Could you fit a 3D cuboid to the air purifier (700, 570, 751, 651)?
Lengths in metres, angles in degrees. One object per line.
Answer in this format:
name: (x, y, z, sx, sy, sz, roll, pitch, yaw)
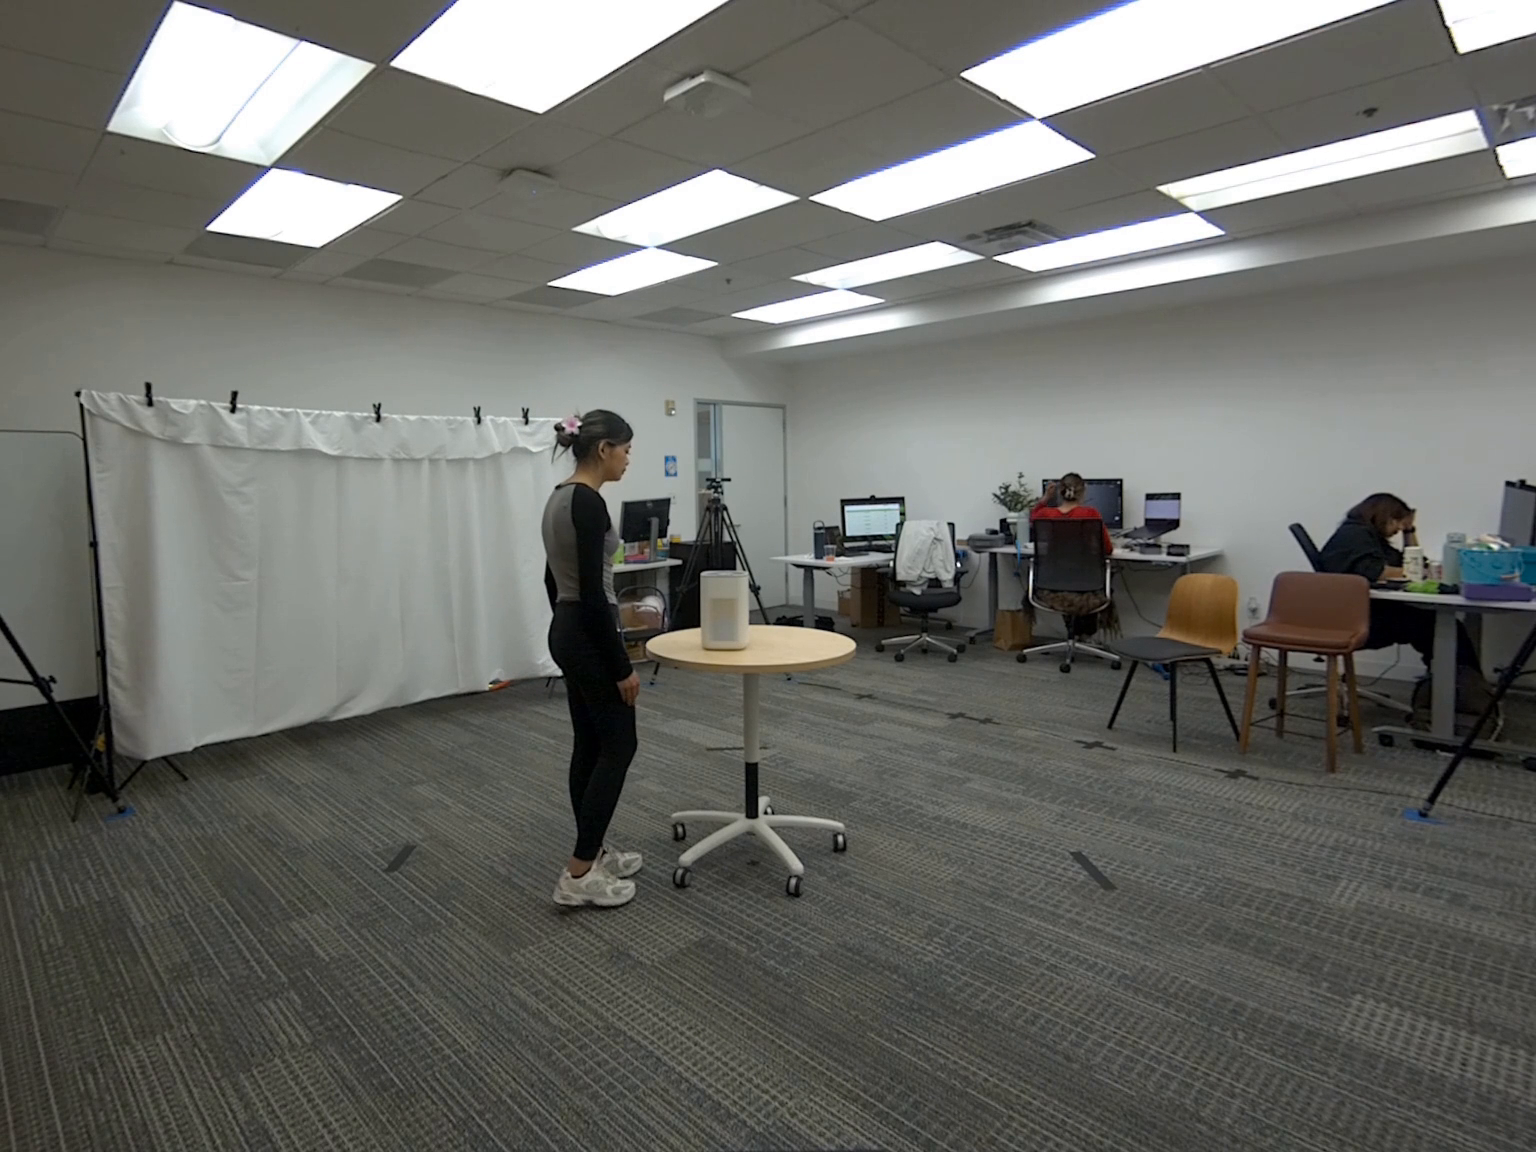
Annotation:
air purifier: (-0.149, 0.121, 3.057, 0.172, 0.264, 0.171, -1, 4, 1)
